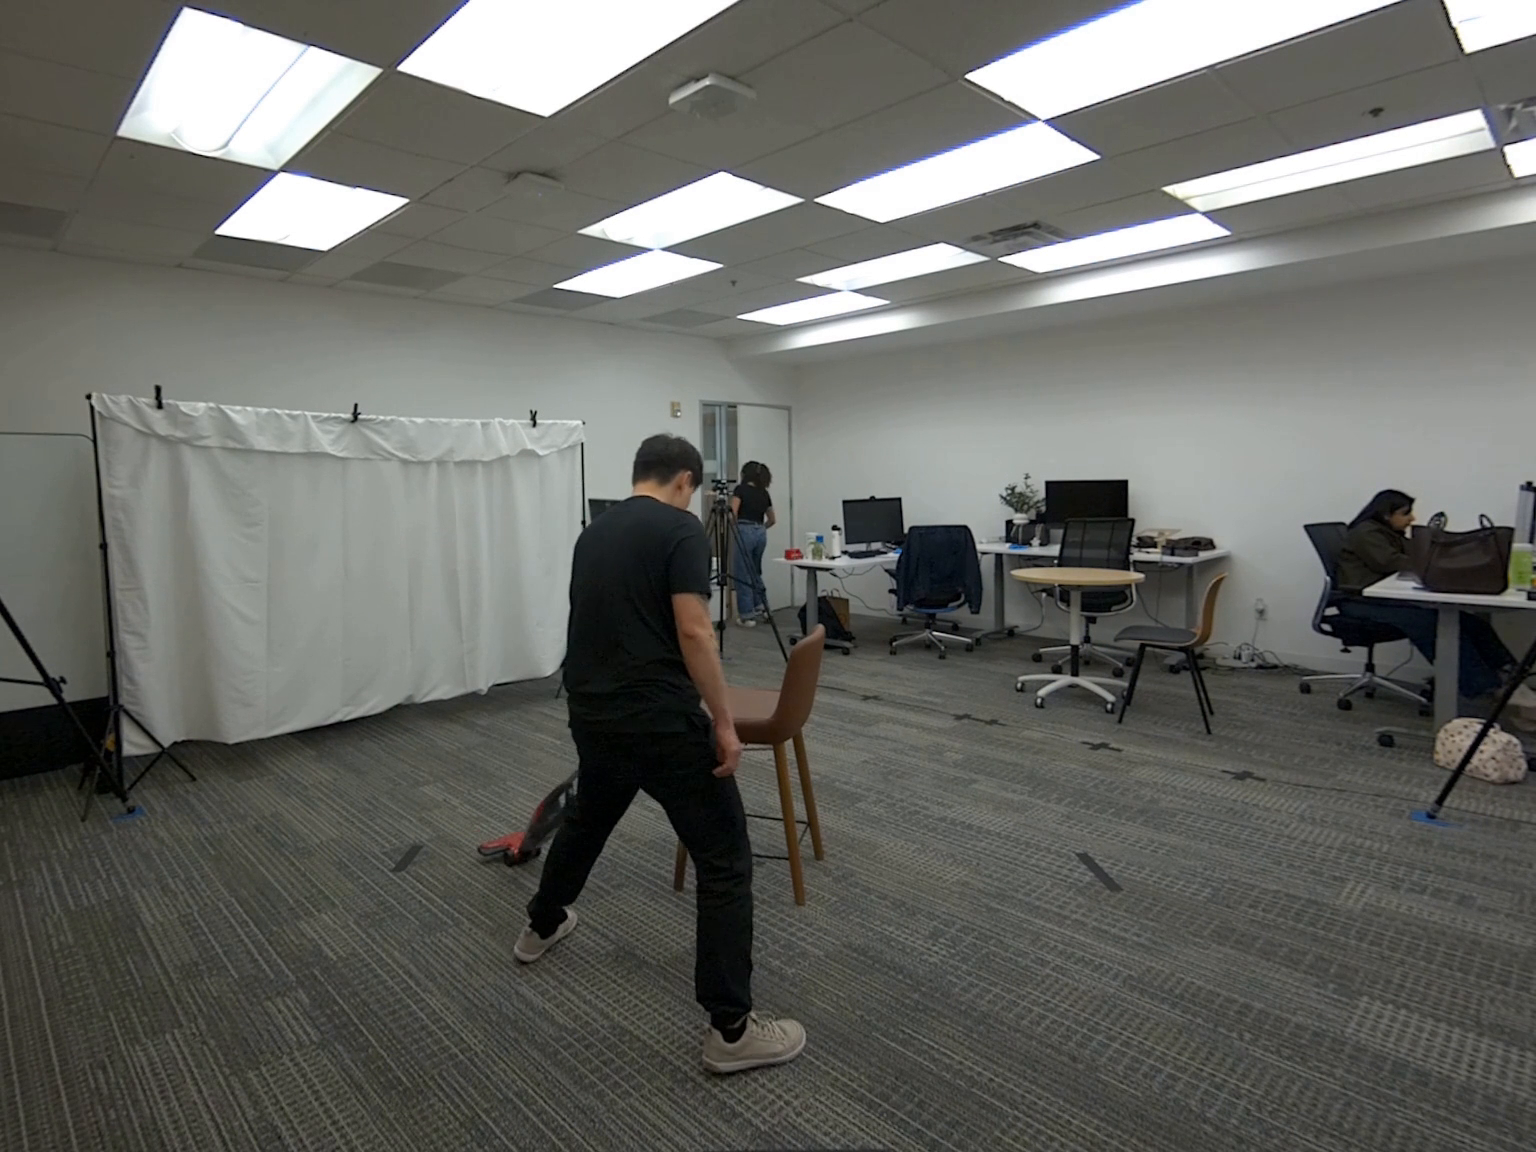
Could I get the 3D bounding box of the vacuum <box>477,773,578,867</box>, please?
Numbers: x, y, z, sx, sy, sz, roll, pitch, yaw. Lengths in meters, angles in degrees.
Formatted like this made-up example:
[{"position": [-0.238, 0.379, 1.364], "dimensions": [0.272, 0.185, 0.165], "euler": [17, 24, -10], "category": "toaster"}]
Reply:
[{"position": [-0.662, 0.744, 2.877], "dimensions": [0.247, 0.147, 1.049], "euler": [-16, -22, -46], "category": "vacuum"}]
